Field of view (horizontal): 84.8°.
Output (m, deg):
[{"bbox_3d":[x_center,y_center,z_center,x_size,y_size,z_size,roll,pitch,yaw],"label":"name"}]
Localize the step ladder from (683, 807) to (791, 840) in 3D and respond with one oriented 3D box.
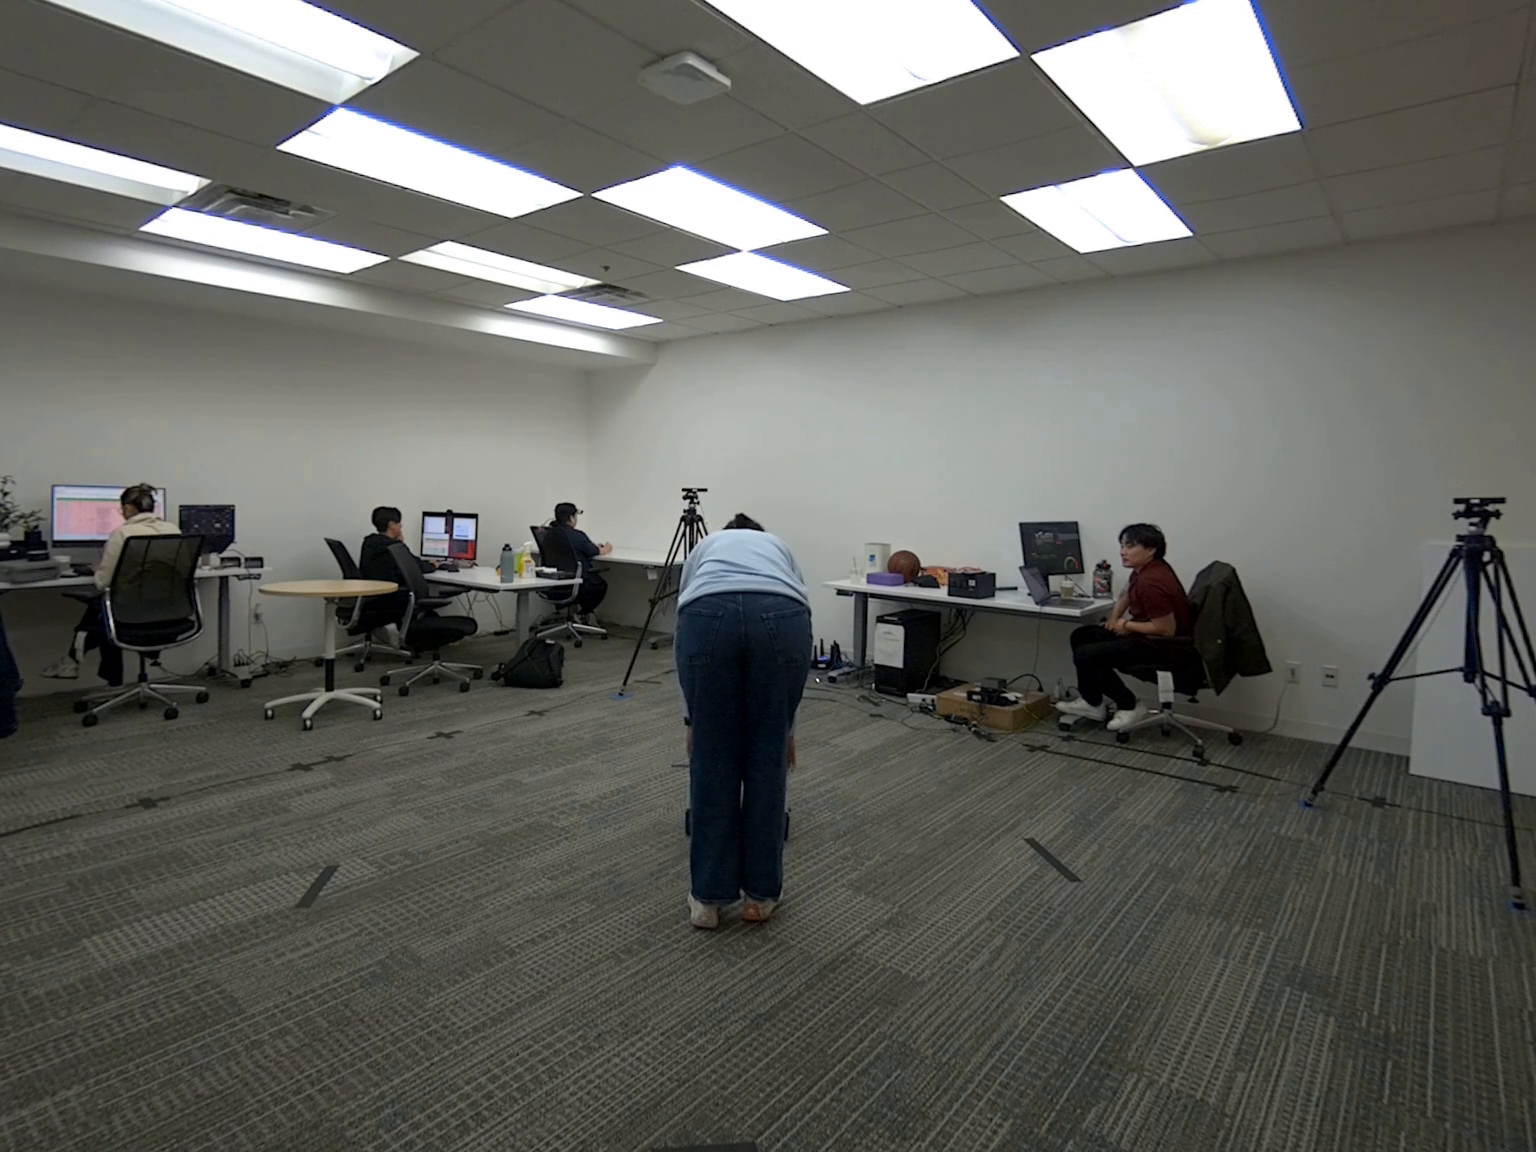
[{"bbox_3d":[-0.123,0.721,3.547,0.433,0.604,0.348,1,3,4],"label":"step ladder"}]
